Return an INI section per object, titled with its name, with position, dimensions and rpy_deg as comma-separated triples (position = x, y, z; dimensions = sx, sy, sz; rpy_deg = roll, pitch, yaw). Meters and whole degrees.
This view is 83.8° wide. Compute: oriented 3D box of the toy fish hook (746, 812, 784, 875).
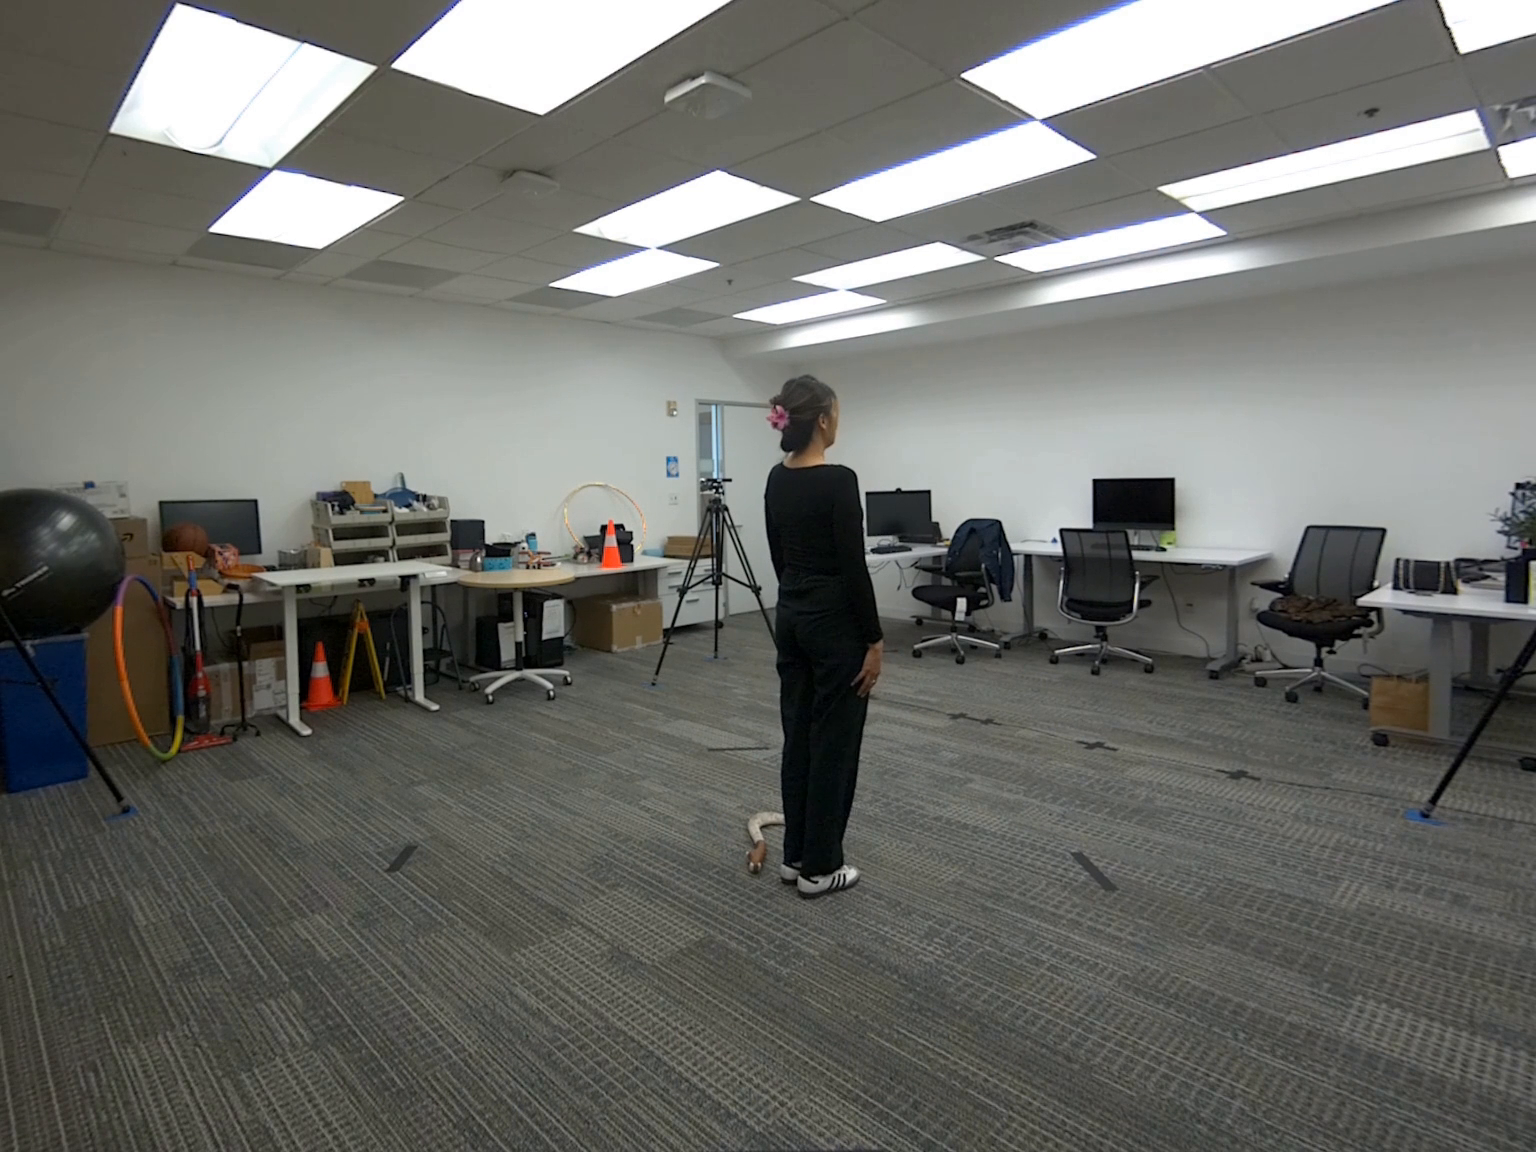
[toy fish hook]
position = 0.024, 1.004, 3.250
dimensions = 0.226, 0.048, 0.506
rpy_deg = -2, 7, 5
